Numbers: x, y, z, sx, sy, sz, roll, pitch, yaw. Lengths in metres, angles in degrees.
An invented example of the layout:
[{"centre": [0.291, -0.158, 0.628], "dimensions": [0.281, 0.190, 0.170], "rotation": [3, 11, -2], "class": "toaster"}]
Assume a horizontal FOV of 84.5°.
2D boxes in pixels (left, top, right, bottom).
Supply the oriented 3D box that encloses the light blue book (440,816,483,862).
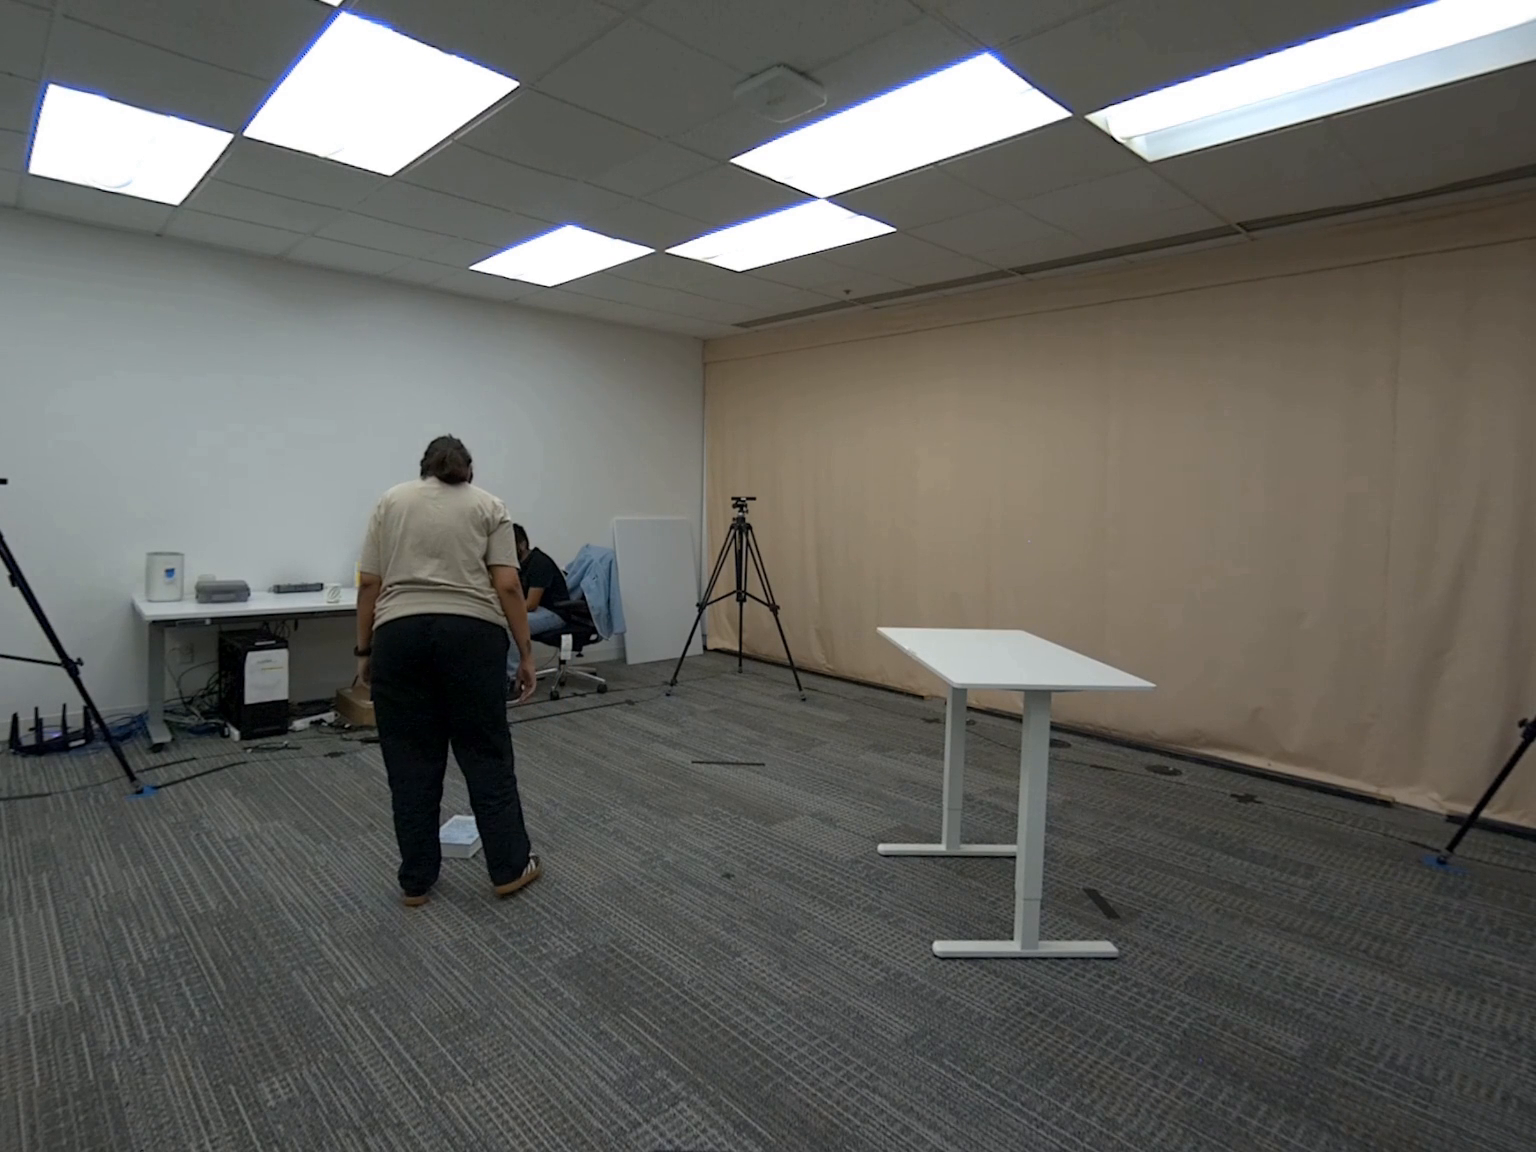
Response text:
[{"centre": [-1.208, 1.032, 3.334], "dimensions": [0.192, 0.059, 0.261], "rotation": [2, 6, 5], "class": "light blue book"}]
